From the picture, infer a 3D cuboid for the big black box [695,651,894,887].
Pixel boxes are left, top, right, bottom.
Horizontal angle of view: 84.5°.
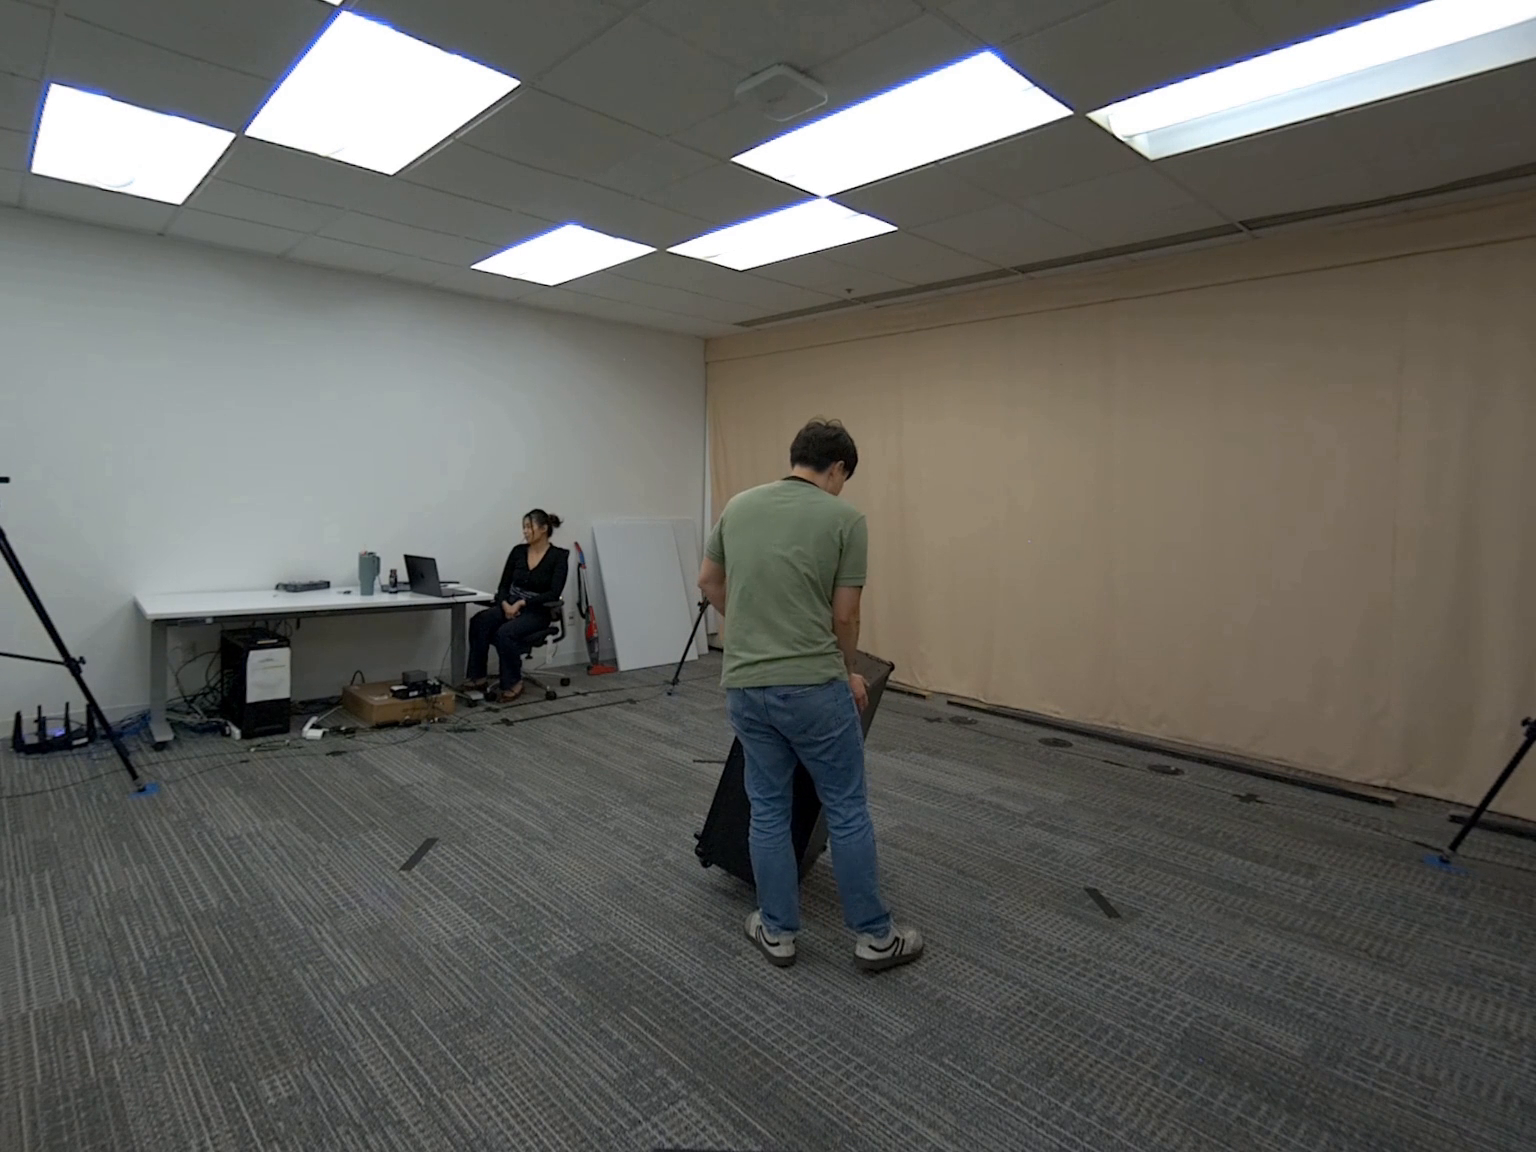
[{"bbox_3d":[0.078,0.678,3.000,0.404,0.857,0.514,22,10,18],"label":"big black box"}]
